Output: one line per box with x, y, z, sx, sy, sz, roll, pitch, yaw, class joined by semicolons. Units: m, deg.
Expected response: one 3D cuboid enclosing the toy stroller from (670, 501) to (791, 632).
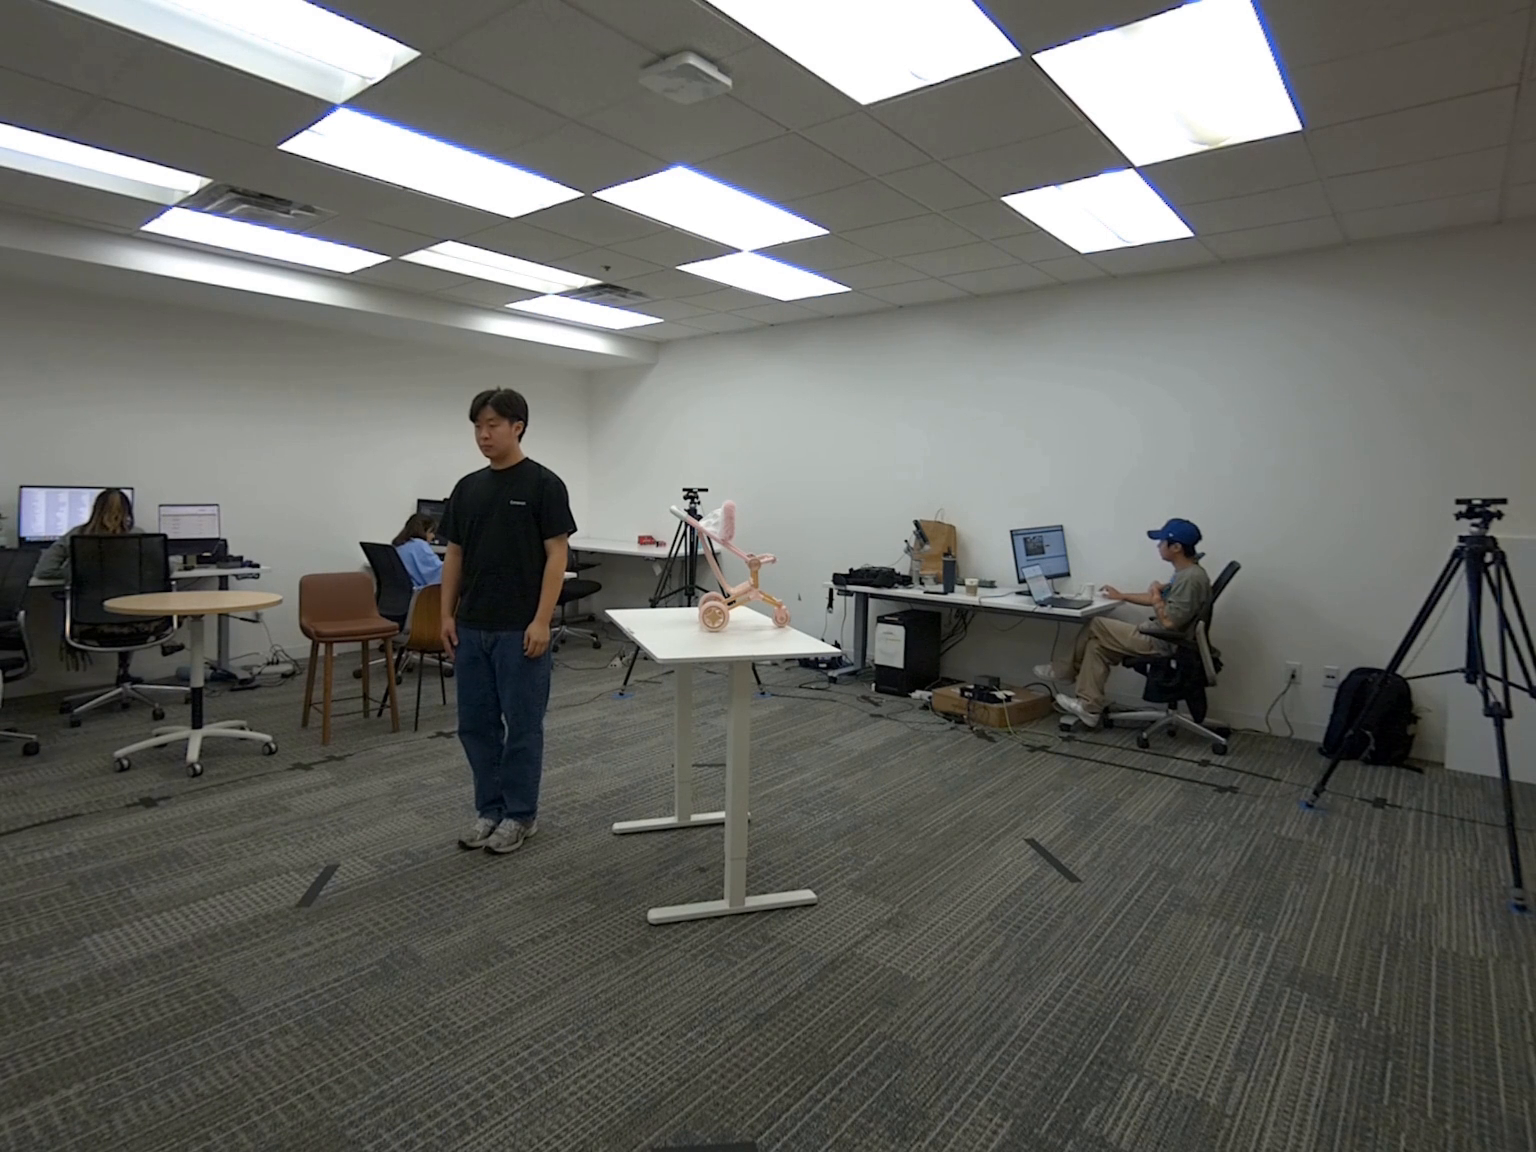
-0.135;-0.038;3.123;0.342;0.533;0.281;-14;3;4;toy stroller
